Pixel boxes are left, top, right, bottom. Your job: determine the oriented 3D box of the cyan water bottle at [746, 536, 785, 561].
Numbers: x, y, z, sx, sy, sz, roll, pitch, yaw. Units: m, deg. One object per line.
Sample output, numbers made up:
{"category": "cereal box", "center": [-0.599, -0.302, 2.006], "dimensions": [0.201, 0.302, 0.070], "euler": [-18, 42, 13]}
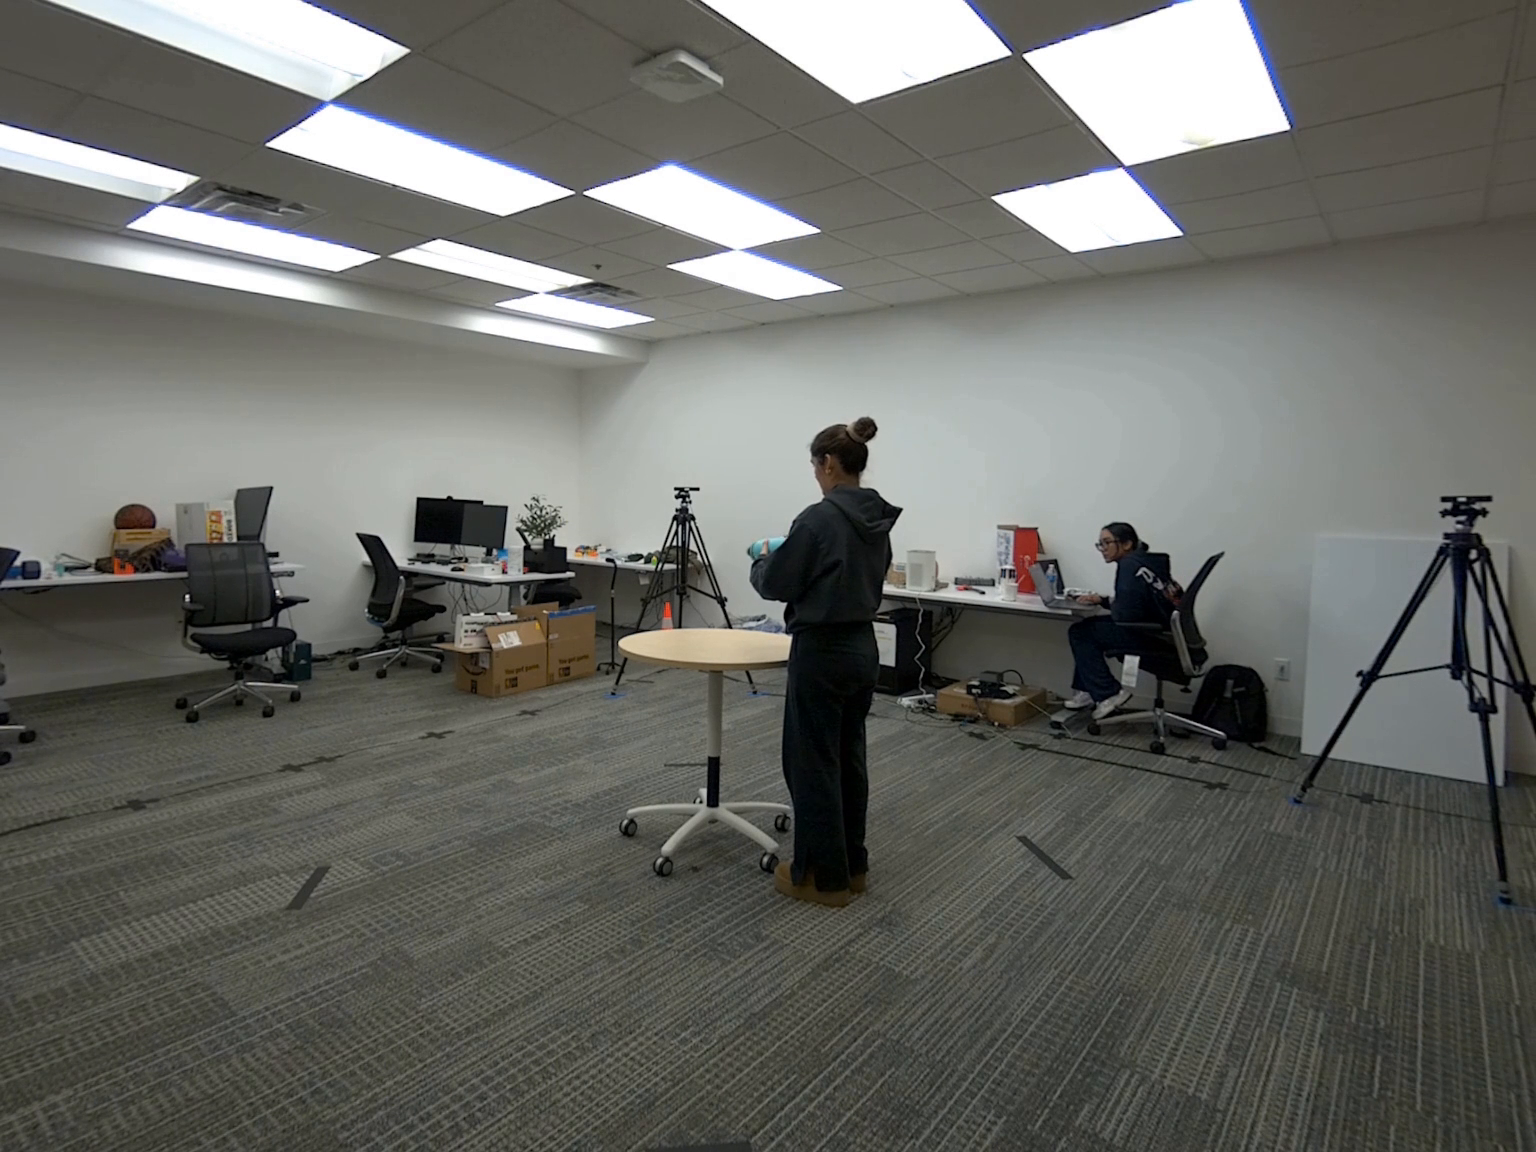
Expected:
{"category": "cyan water bottle", "center": [0.017, -0.103, 3.185], "dimensions": [0.090, 0.092, 0.291], "euler": [-2, 2, -32]}
